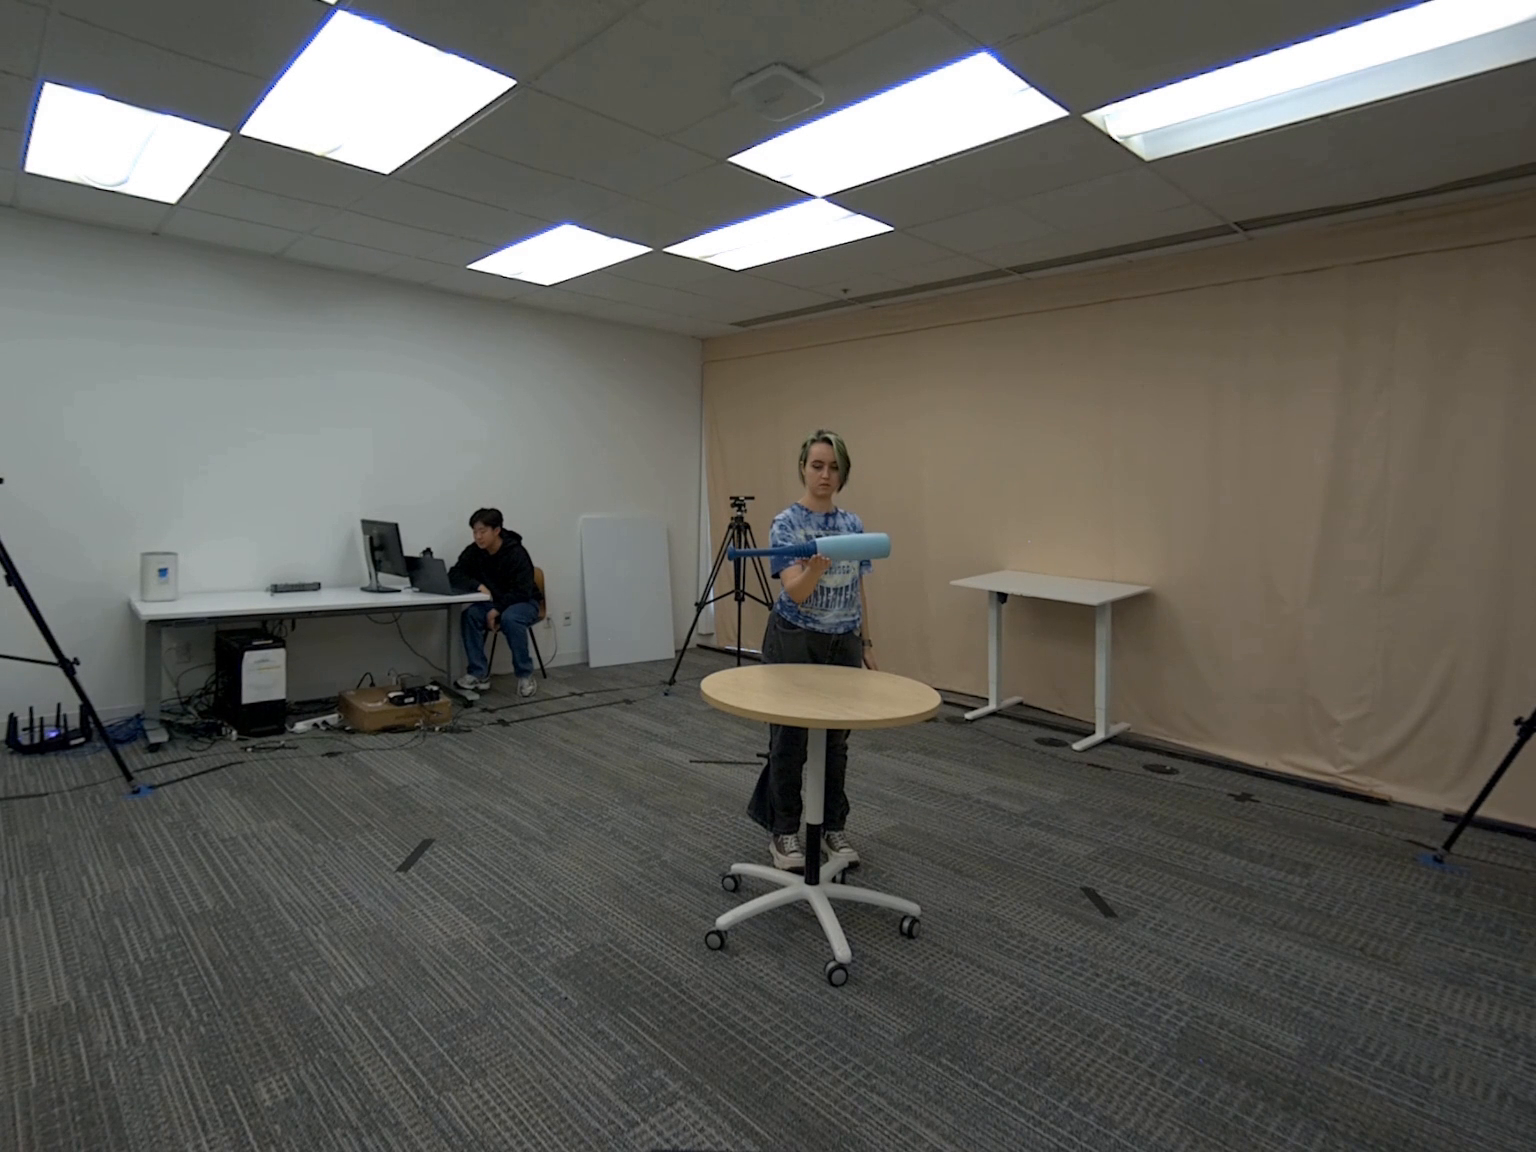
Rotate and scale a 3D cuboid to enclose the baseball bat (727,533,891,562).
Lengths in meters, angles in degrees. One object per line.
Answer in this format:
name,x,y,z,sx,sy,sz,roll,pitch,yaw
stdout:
baseball bat,0.132,-0.082,2.759,0.540,0.089,0.090,-4,5,-7
